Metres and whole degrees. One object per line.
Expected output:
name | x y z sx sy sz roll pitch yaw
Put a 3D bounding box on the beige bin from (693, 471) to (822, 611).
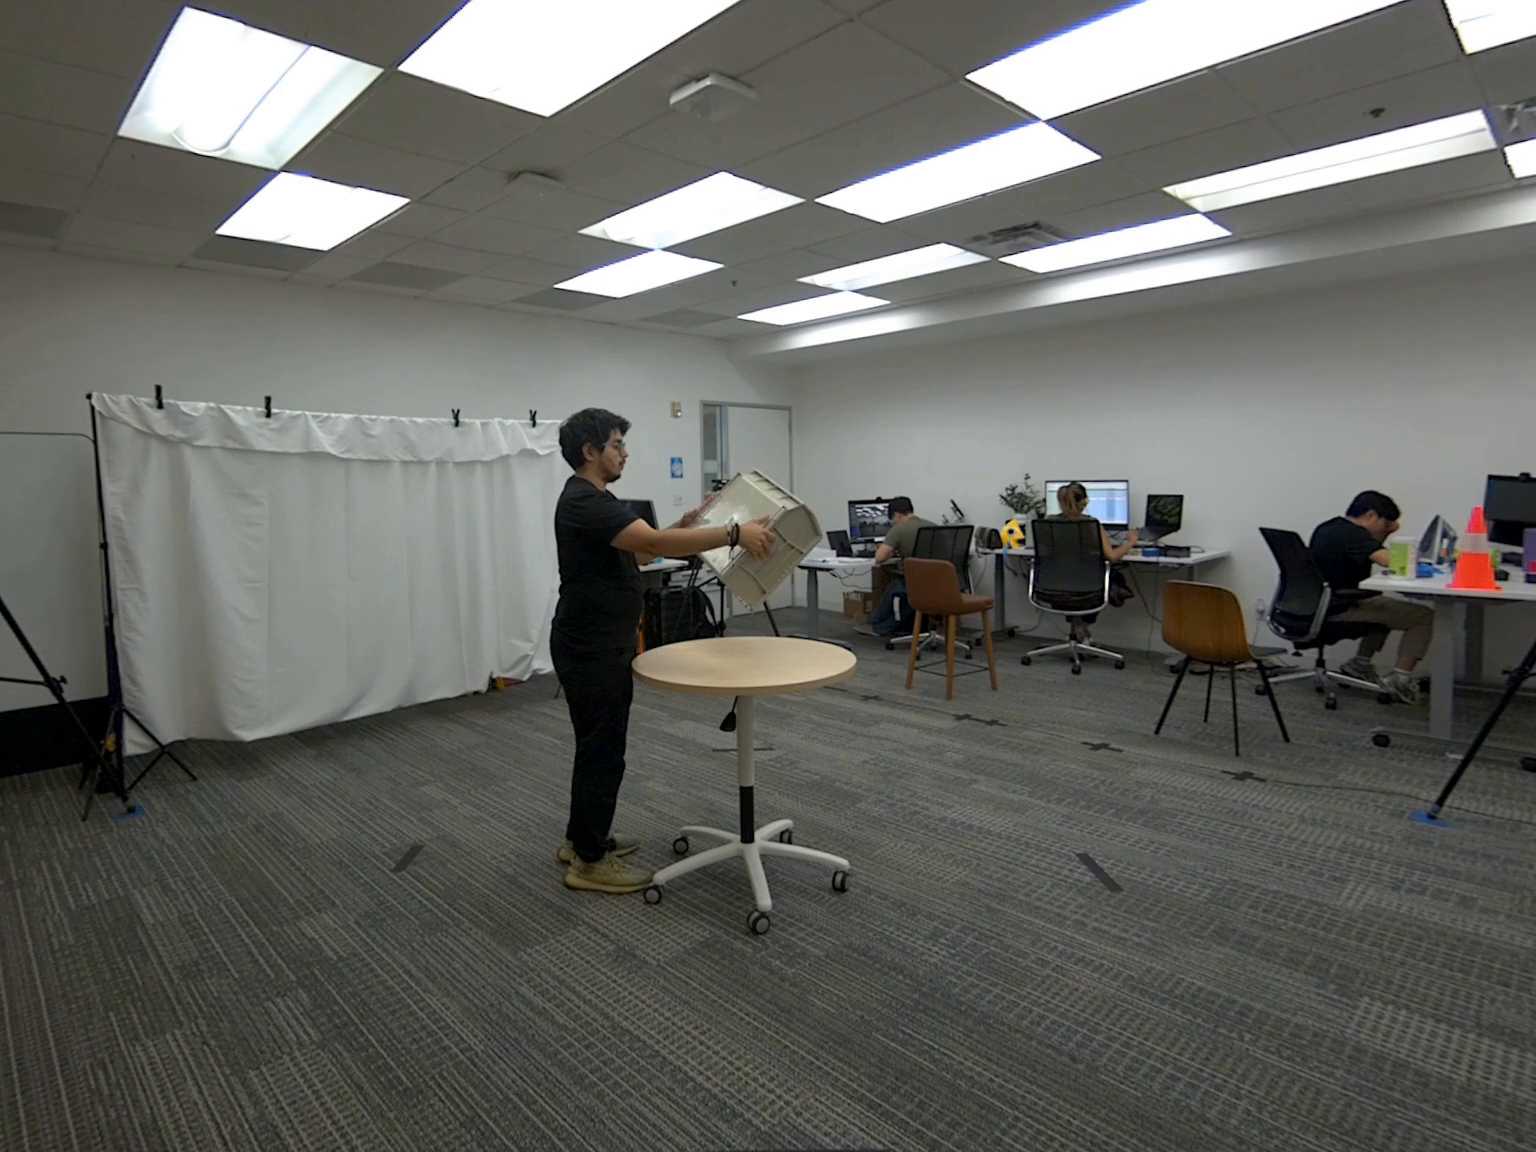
beige bin | -0.064 -0.143 2.951 0.182 0.377 0.437 44 0 -33
